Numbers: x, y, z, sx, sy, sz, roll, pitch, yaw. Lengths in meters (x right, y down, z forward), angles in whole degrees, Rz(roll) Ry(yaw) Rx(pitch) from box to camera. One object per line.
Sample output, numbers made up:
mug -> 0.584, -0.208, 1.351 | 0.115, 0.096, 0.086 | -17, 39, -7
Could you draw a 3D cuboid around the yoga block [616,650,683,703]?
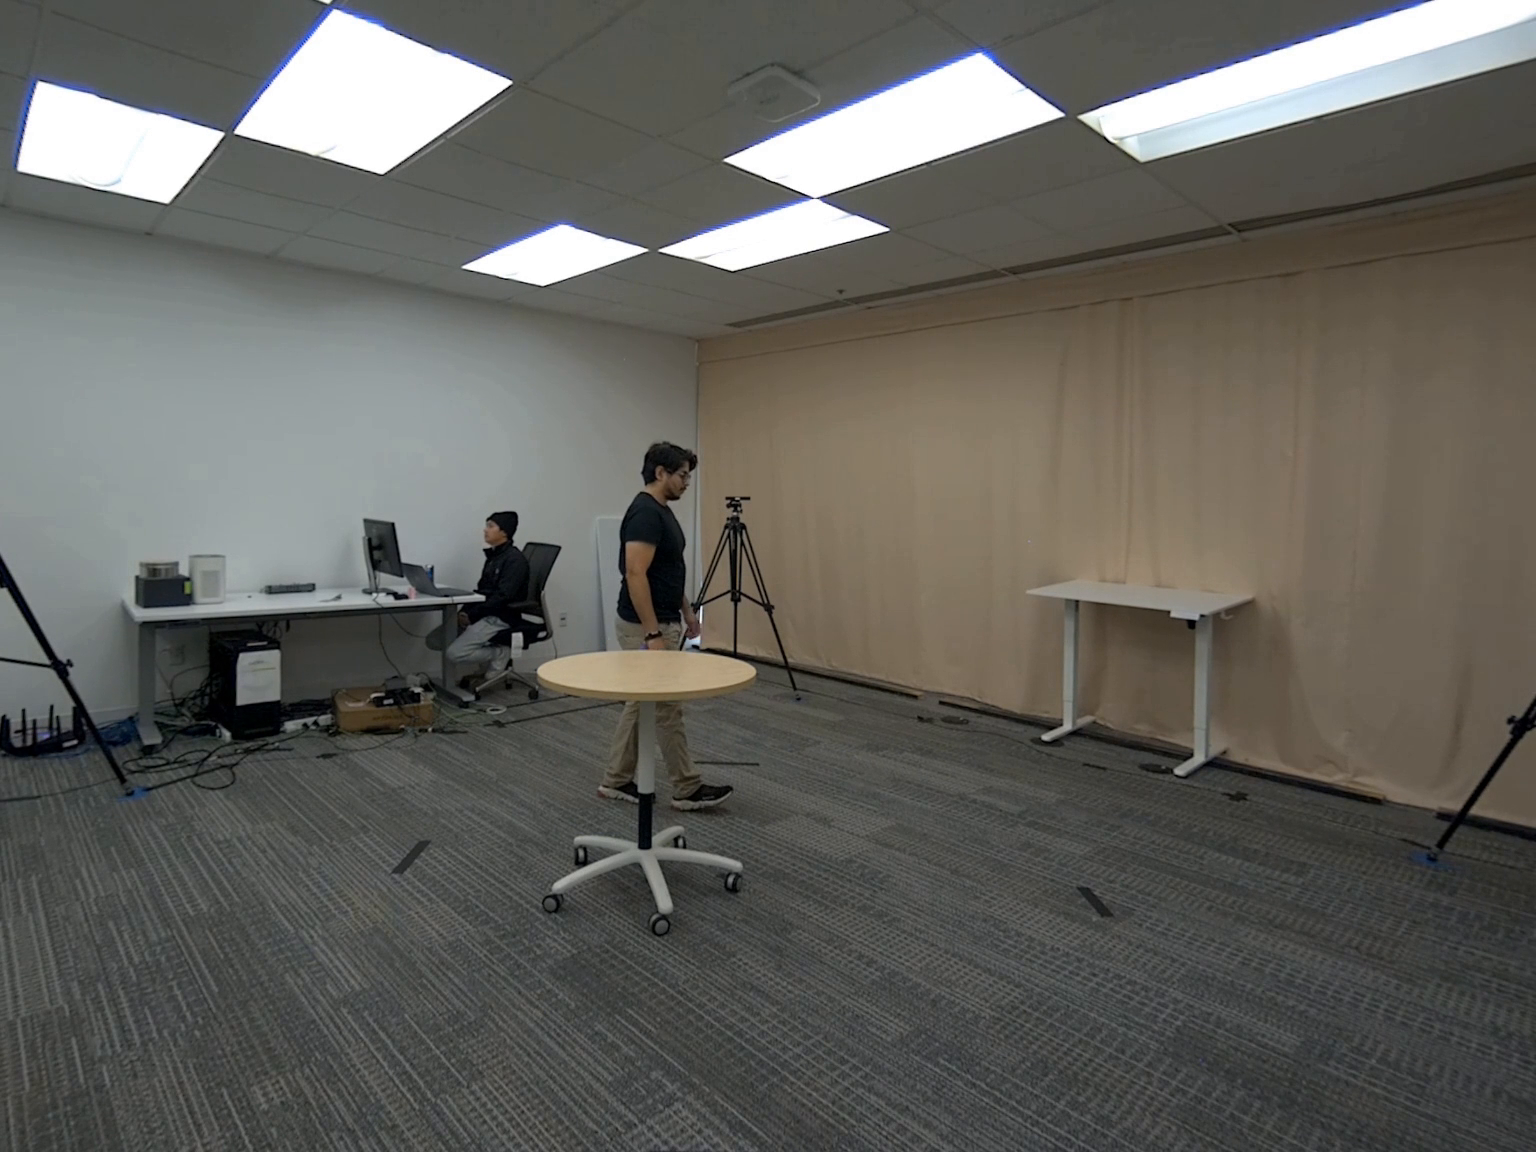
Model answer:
yoga block -> -0.501, 0.414, 3.575 | 0.226, 0.149, 0.077 | 33, 14, -13
